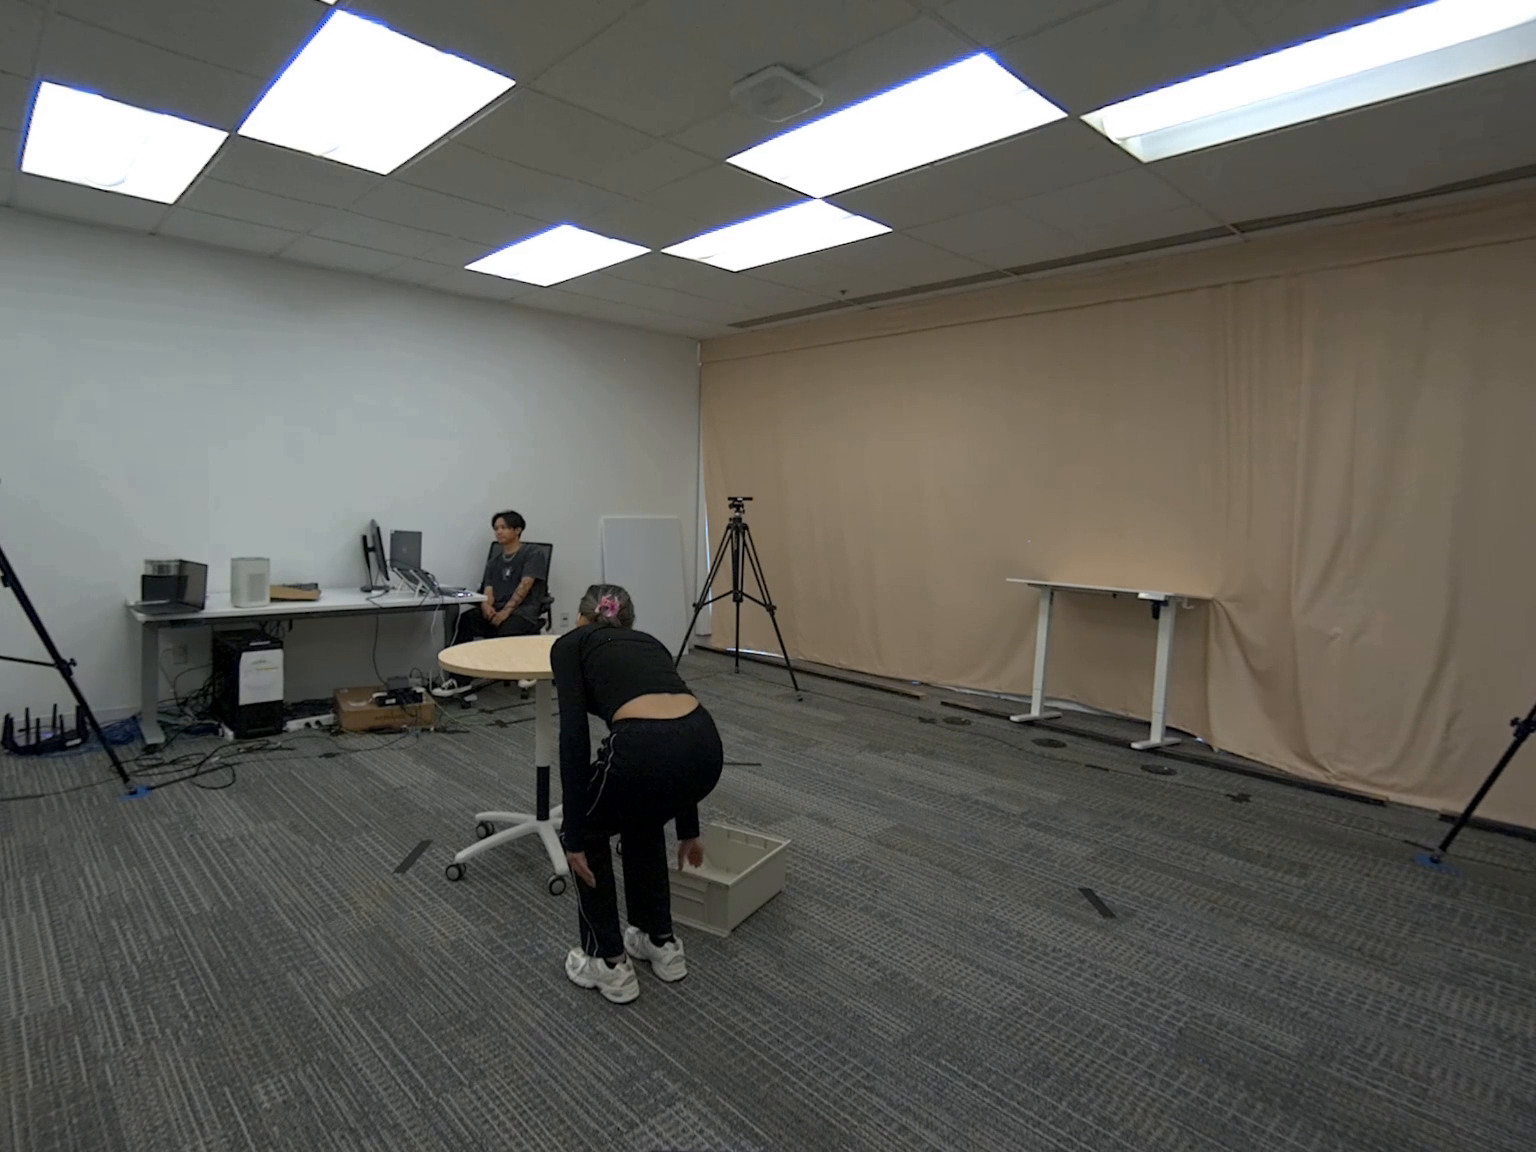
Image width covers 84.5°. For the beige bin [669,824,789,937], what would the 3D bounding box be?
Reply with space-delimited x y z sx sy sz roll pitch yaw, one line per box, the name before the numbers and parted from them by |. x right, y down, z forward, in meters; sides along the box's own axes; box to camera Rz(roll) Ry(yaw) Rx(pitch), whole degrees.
beige bin | -0.191 1.035 2.920 0.386 0.188 0.414 5 6 30
